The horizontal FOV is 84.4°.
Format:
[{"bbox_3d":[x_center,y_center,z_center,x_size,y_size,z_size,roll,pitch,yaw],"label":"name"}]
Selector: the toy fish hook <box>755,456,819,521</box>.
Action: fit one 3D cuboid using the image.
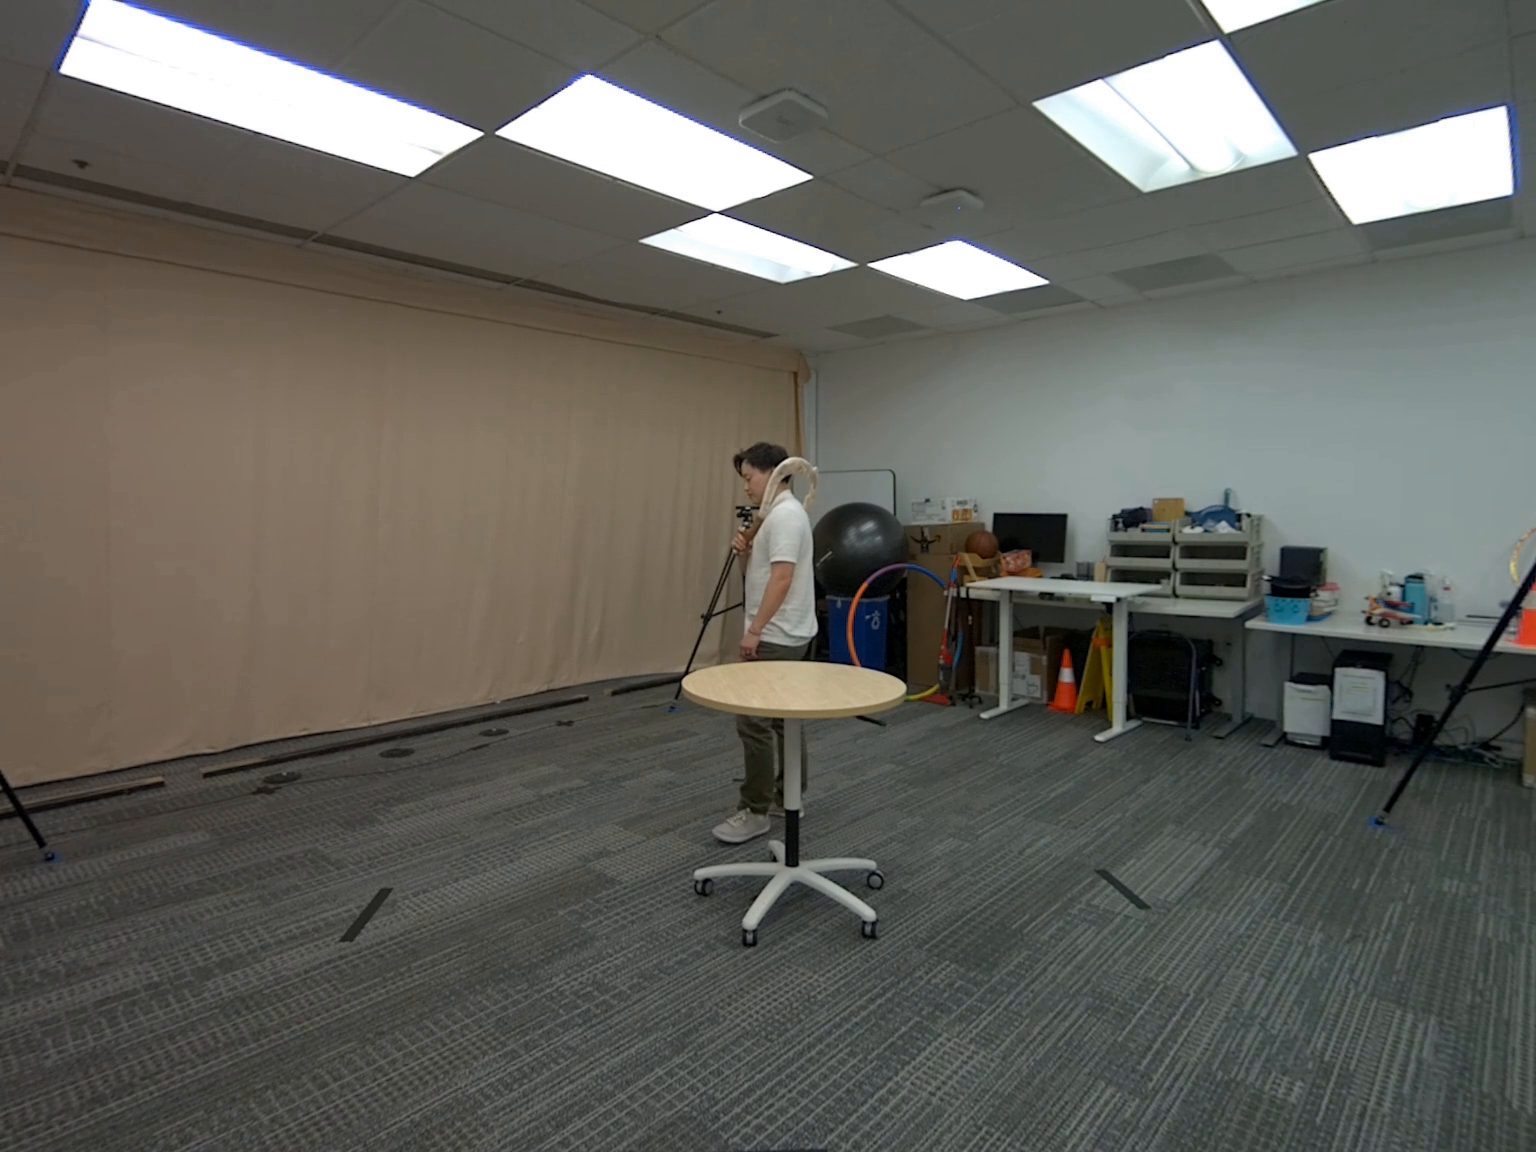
[{"bbox_3d":[0.043,-0.276,3.663,0.221,0.507,0.049,31,10,-14],"label":"toy fish hook"}]
